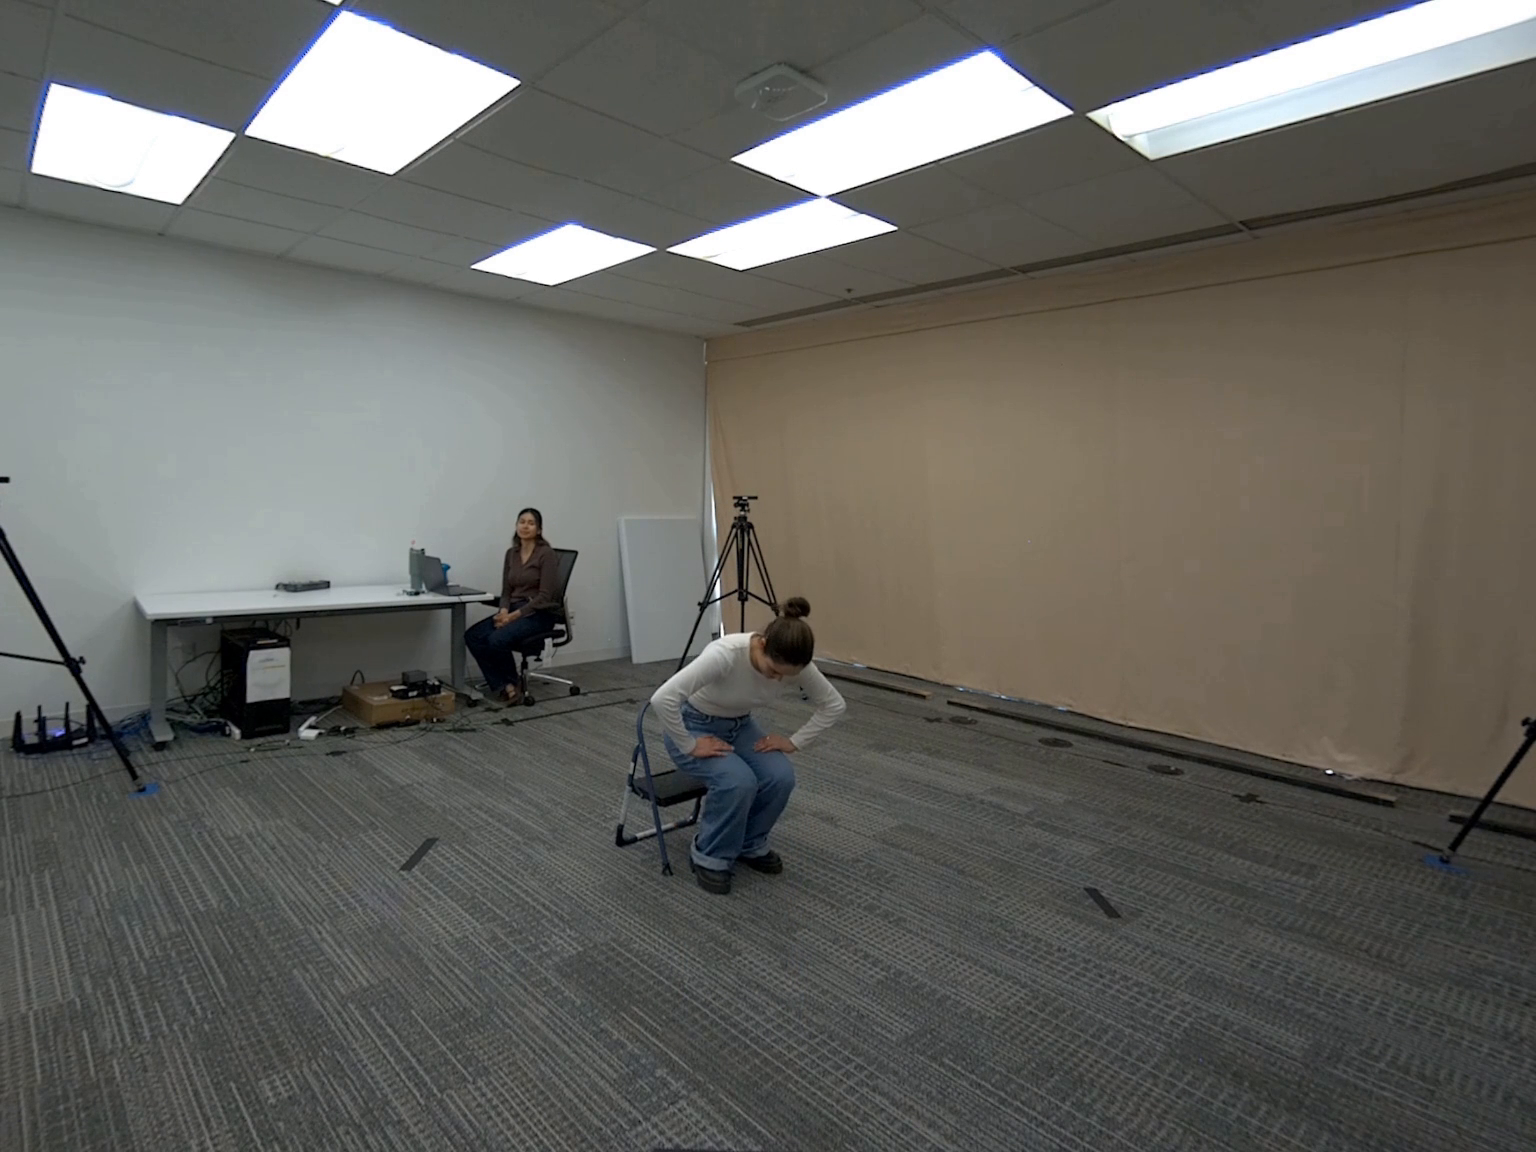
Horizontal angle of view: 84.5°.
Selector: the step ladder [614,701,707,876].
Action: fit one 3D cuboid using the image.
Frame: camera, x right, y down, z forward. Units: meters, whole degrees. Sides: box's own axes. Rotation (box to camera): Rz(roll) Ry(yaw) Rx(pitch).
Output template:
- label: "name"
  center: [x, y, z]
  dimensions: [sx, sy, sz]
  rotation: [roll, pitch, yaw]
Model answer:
- label: "step ladder"
  center: [-0.344, 0.773, 3.339]
  dimensions: [0.420, 0.605, 0.358]
  rotation: [-1, 4, -44]
